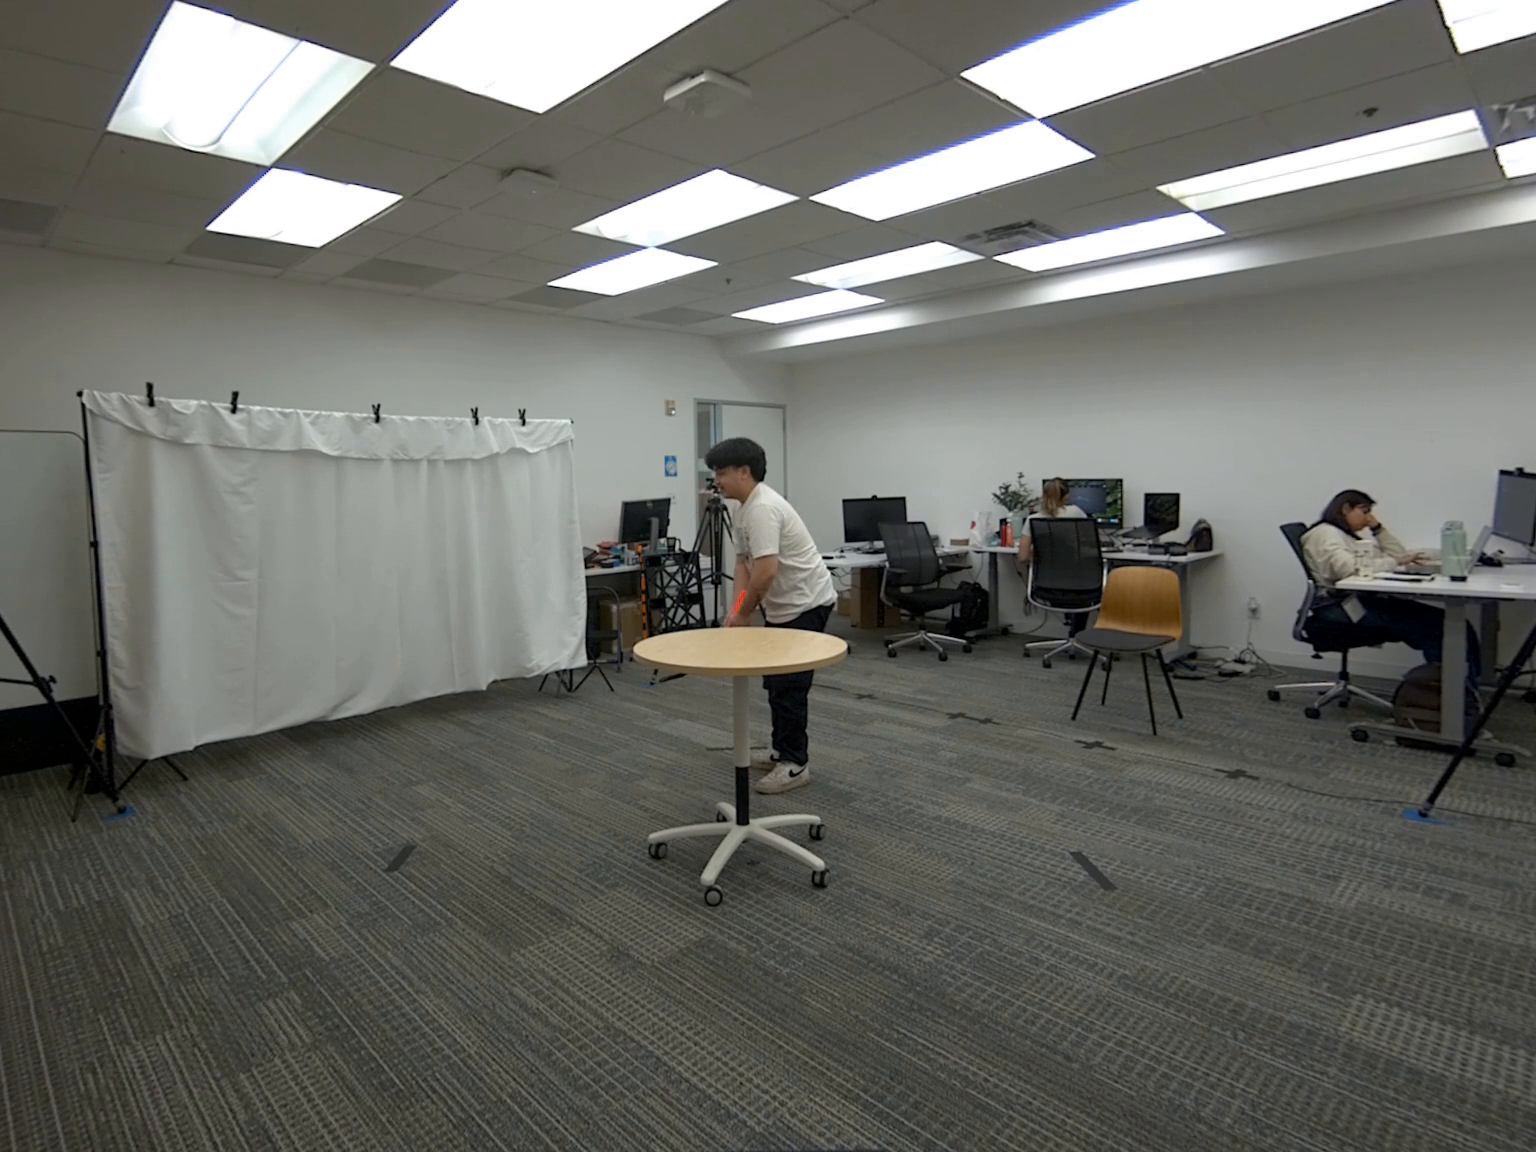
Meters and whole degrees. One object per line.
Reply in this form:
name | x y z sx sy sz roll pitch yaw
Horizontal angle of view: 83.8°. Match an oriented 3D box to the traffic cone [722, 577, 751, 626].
traffic cone | -0.140 0.257 3.917 0.204 0.385 0.204 13 -4 2
